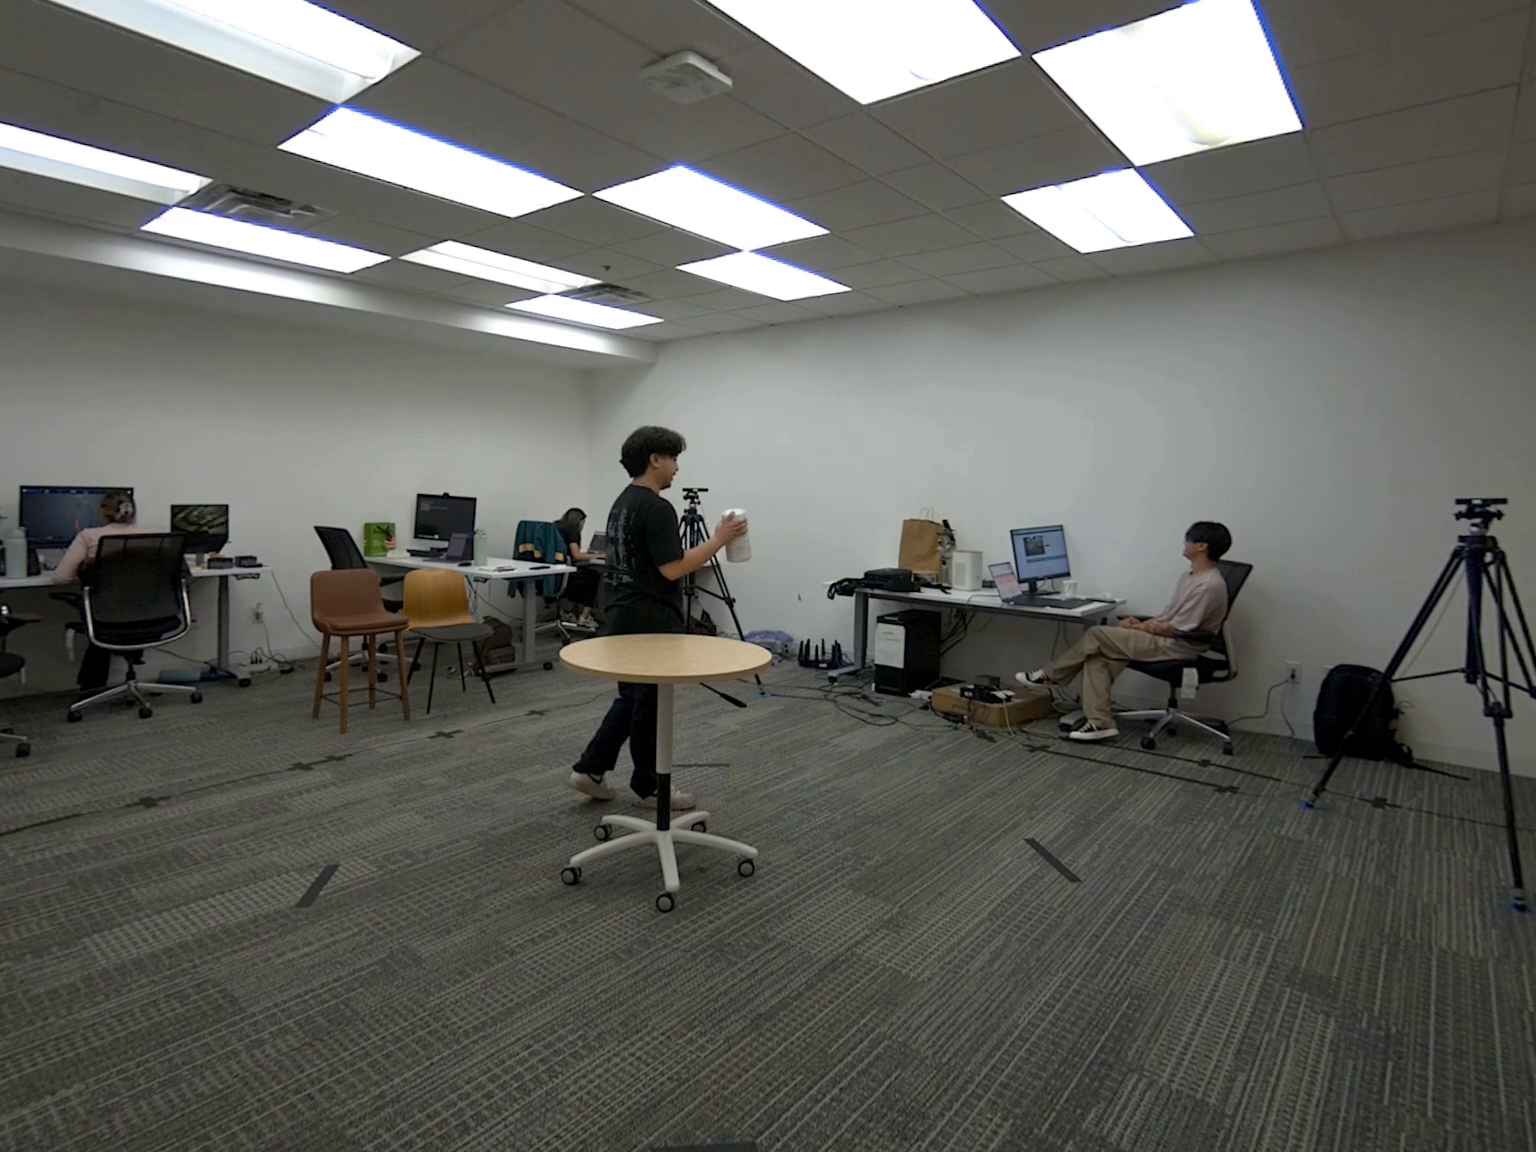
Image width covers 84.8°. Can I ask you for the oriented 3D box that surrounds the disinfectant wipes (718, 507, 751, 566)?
[{"bbox_3d":[-0.148,-0.175,3.659,0.118,0.214,0.119,-5,15,-1],"label":"disinfectant wipes"}]
